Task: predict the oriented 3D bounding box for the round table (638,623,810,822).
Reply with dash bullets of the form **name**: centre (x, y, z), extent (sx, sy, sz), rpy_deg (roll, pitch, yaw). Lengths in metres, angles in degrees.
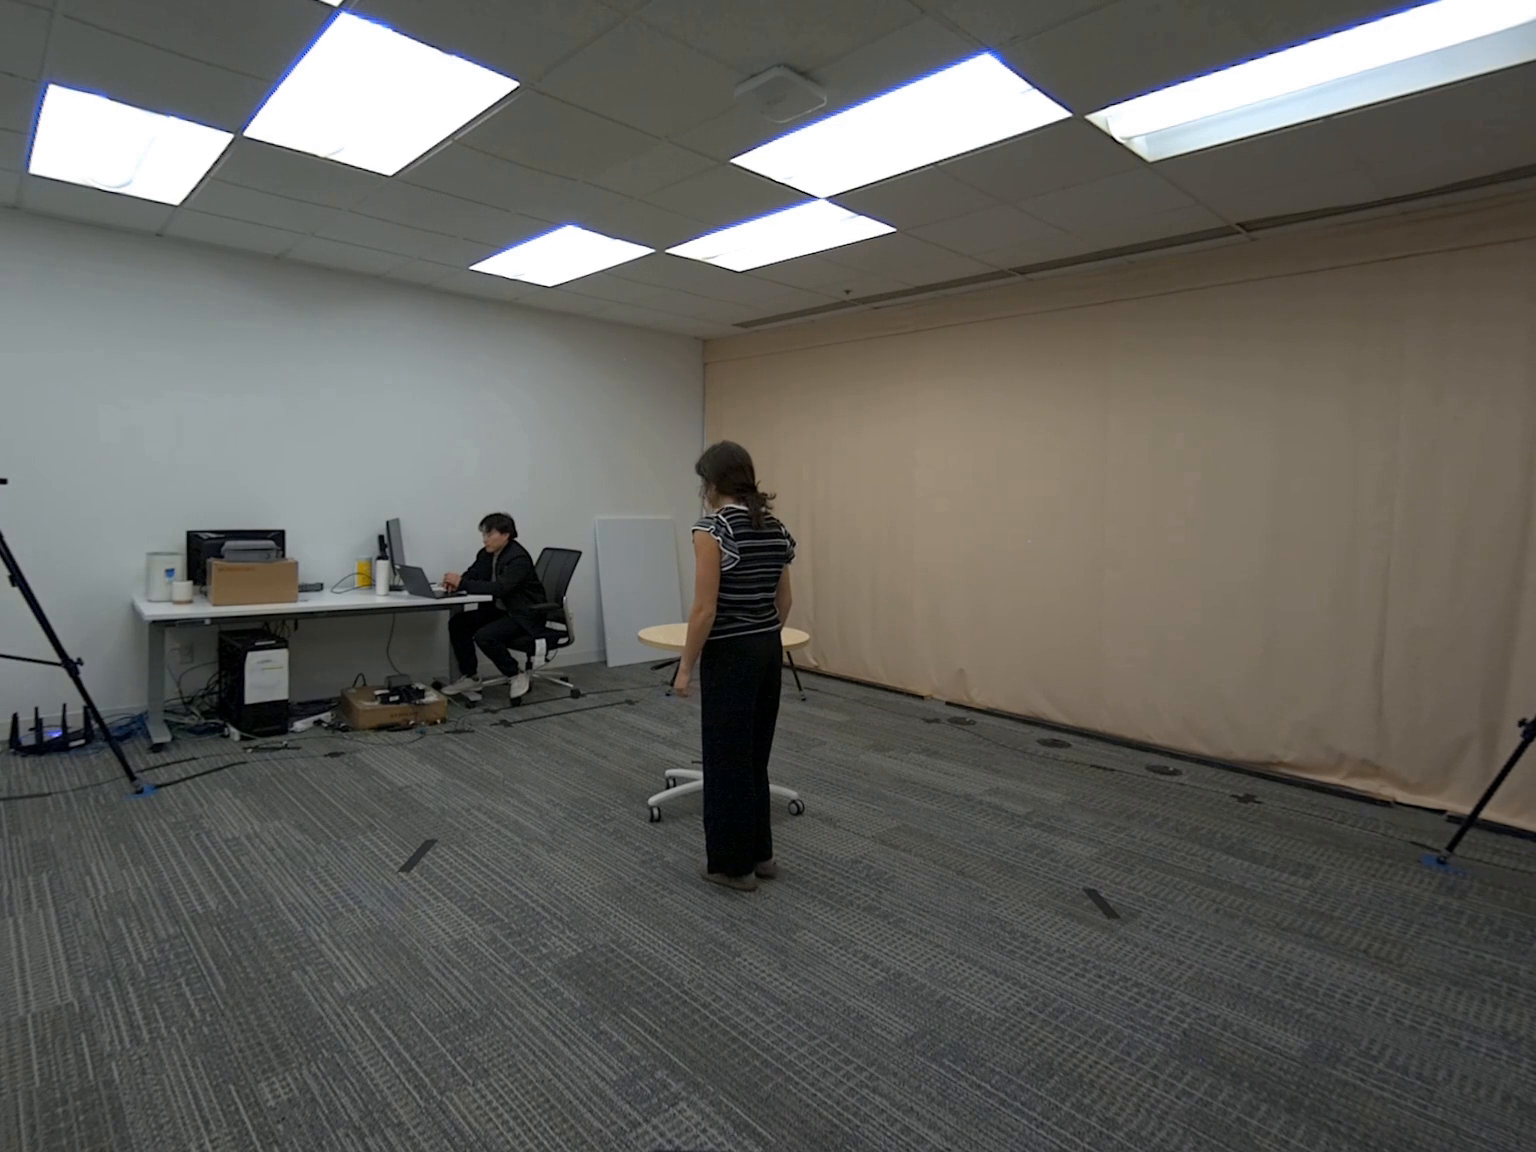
- **round table**: centre (-0.212, 0.658, 3.782), extent (0.763, 0.792, 0.766), rpy_deg (1, 3, -1)
